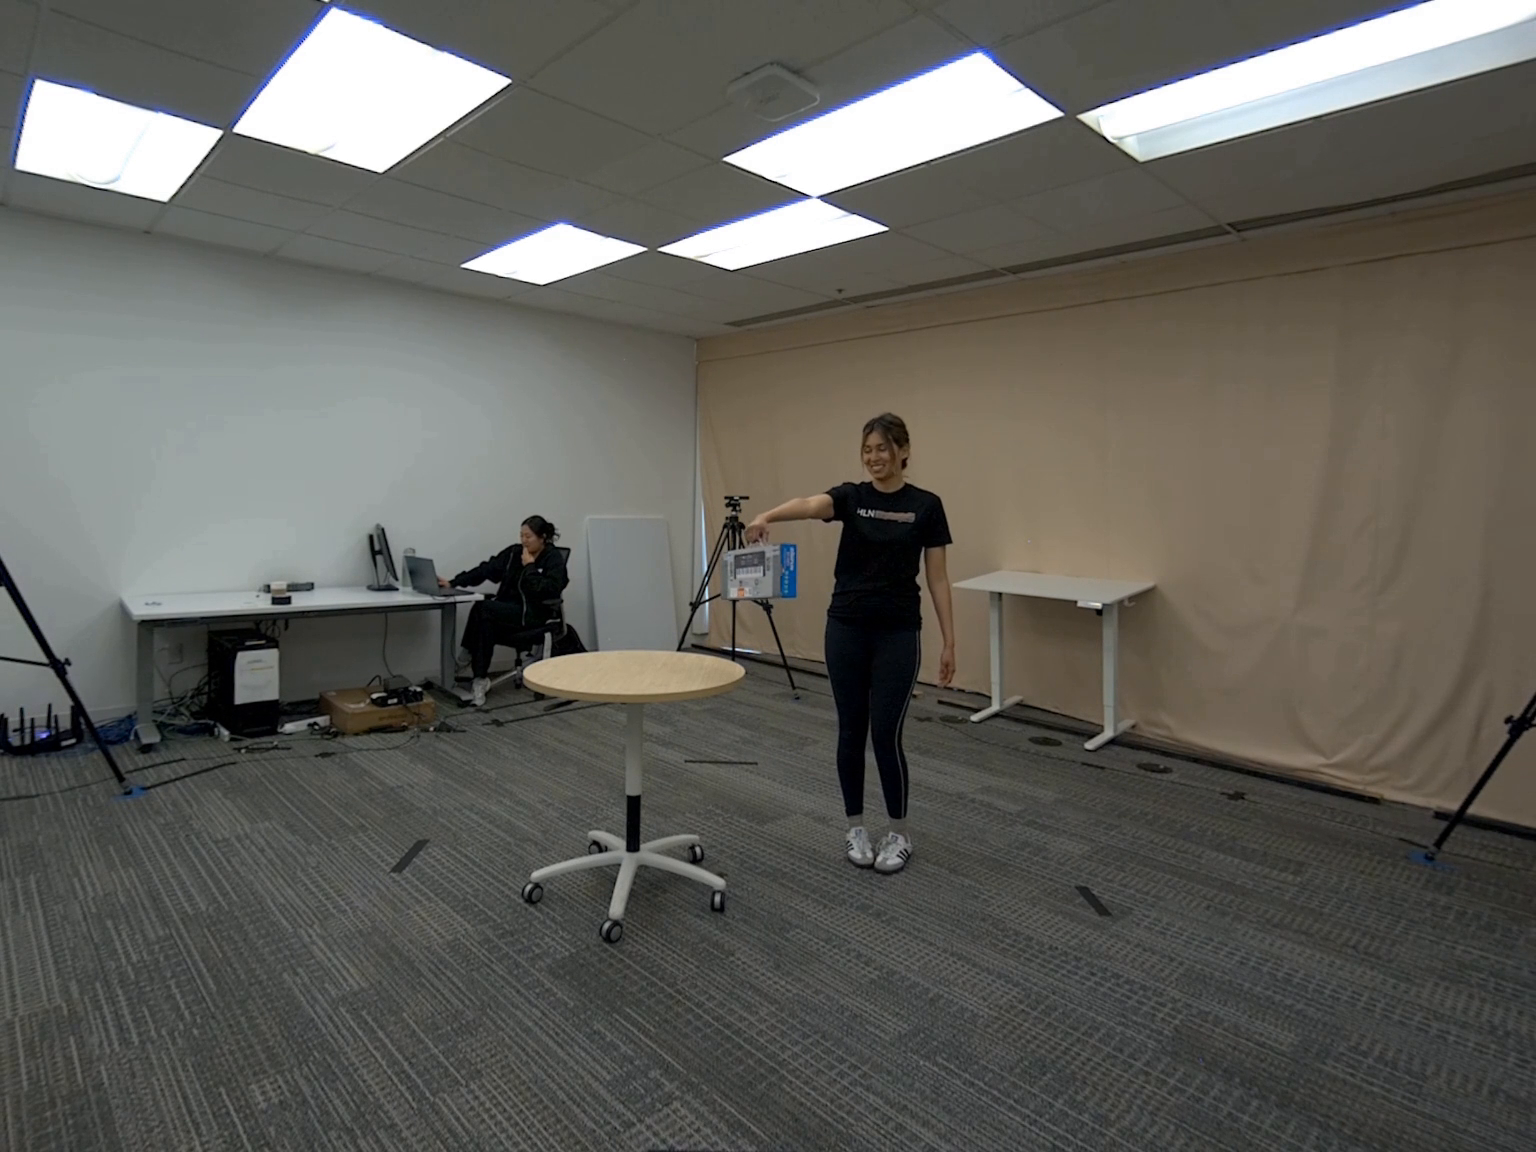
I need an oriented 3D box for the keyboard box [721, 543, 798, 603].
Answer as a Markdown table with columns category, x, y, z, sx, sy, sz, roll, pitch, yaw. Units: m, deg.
| category | x | y | z | sx | sy | sz | roll | pitch | yaw |
| --- | --- | --- | --- | --- | --- | --- | --- | --- | --- |
| keyboard box | -0.043 | -0.005 | 2.868 | 0.058 | 0.176 | 0.444 | 3 | -4 | -29 |
